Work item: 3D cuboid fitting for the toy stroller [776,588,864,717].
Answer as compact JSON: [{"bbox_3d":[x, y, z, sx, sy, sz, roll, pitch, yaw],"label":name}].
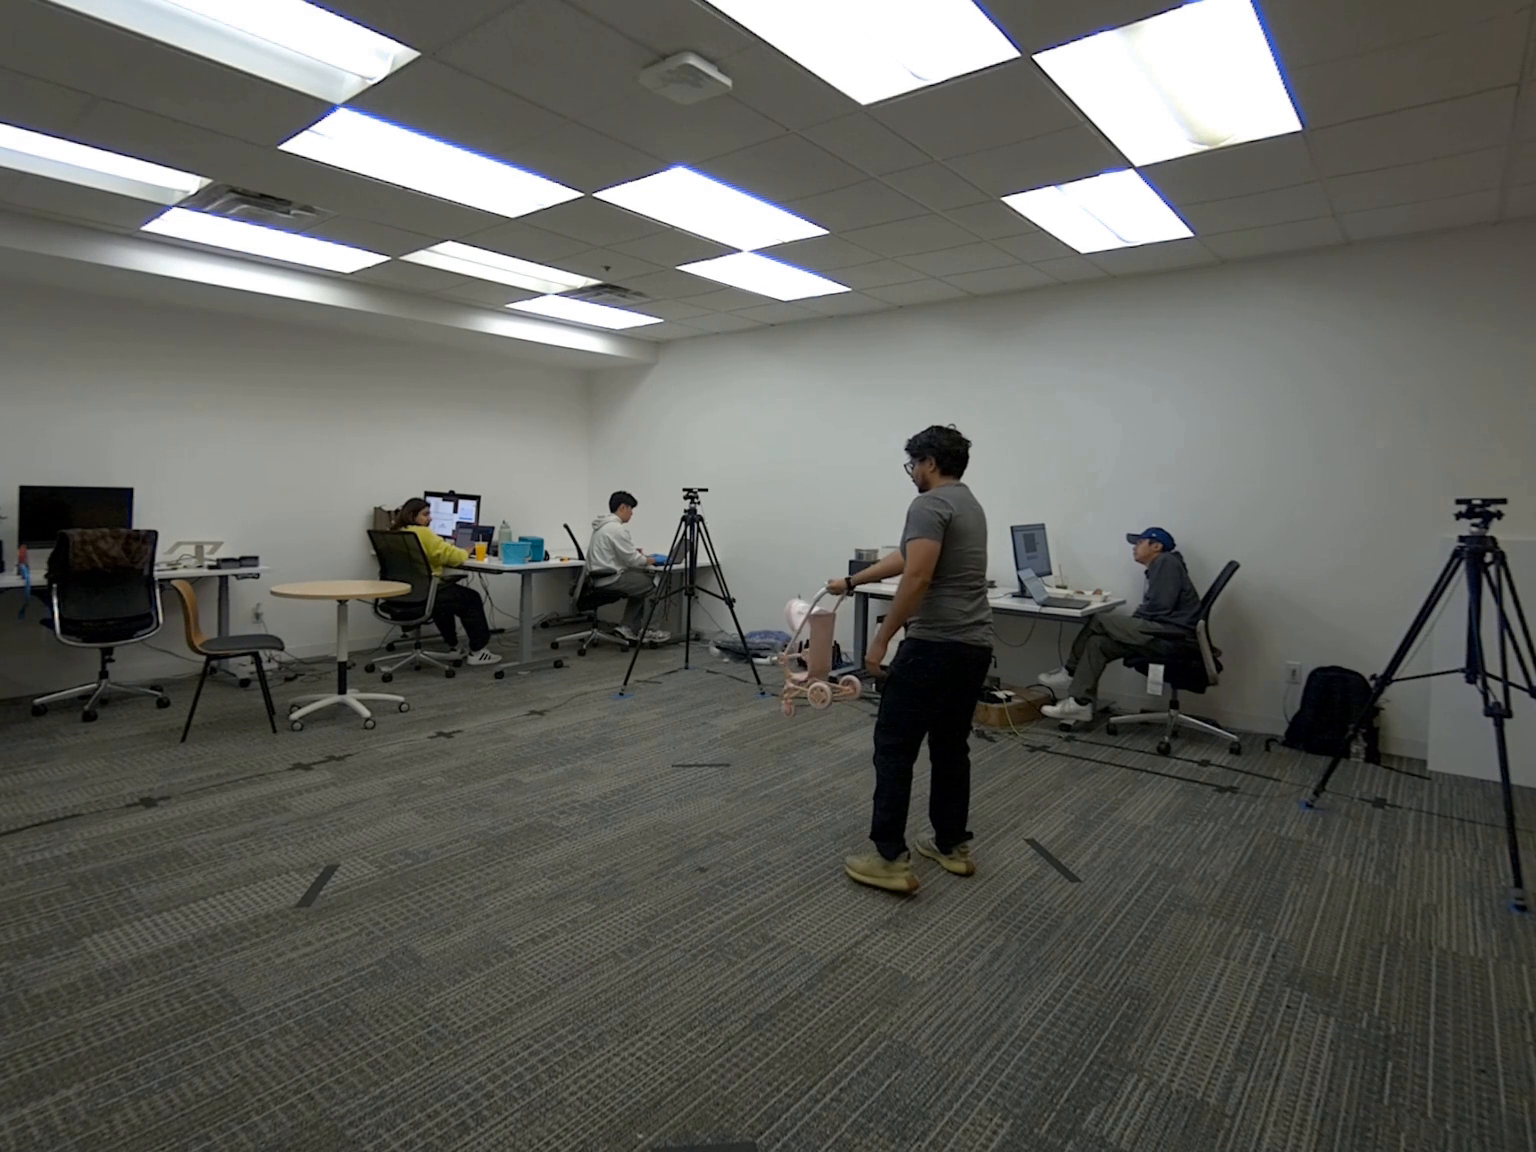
[{"bbox_3d":[0.172,0.330,3.566,0.350,0.538,0.273,-9,-5,40],"label":"toy stroller"}]
